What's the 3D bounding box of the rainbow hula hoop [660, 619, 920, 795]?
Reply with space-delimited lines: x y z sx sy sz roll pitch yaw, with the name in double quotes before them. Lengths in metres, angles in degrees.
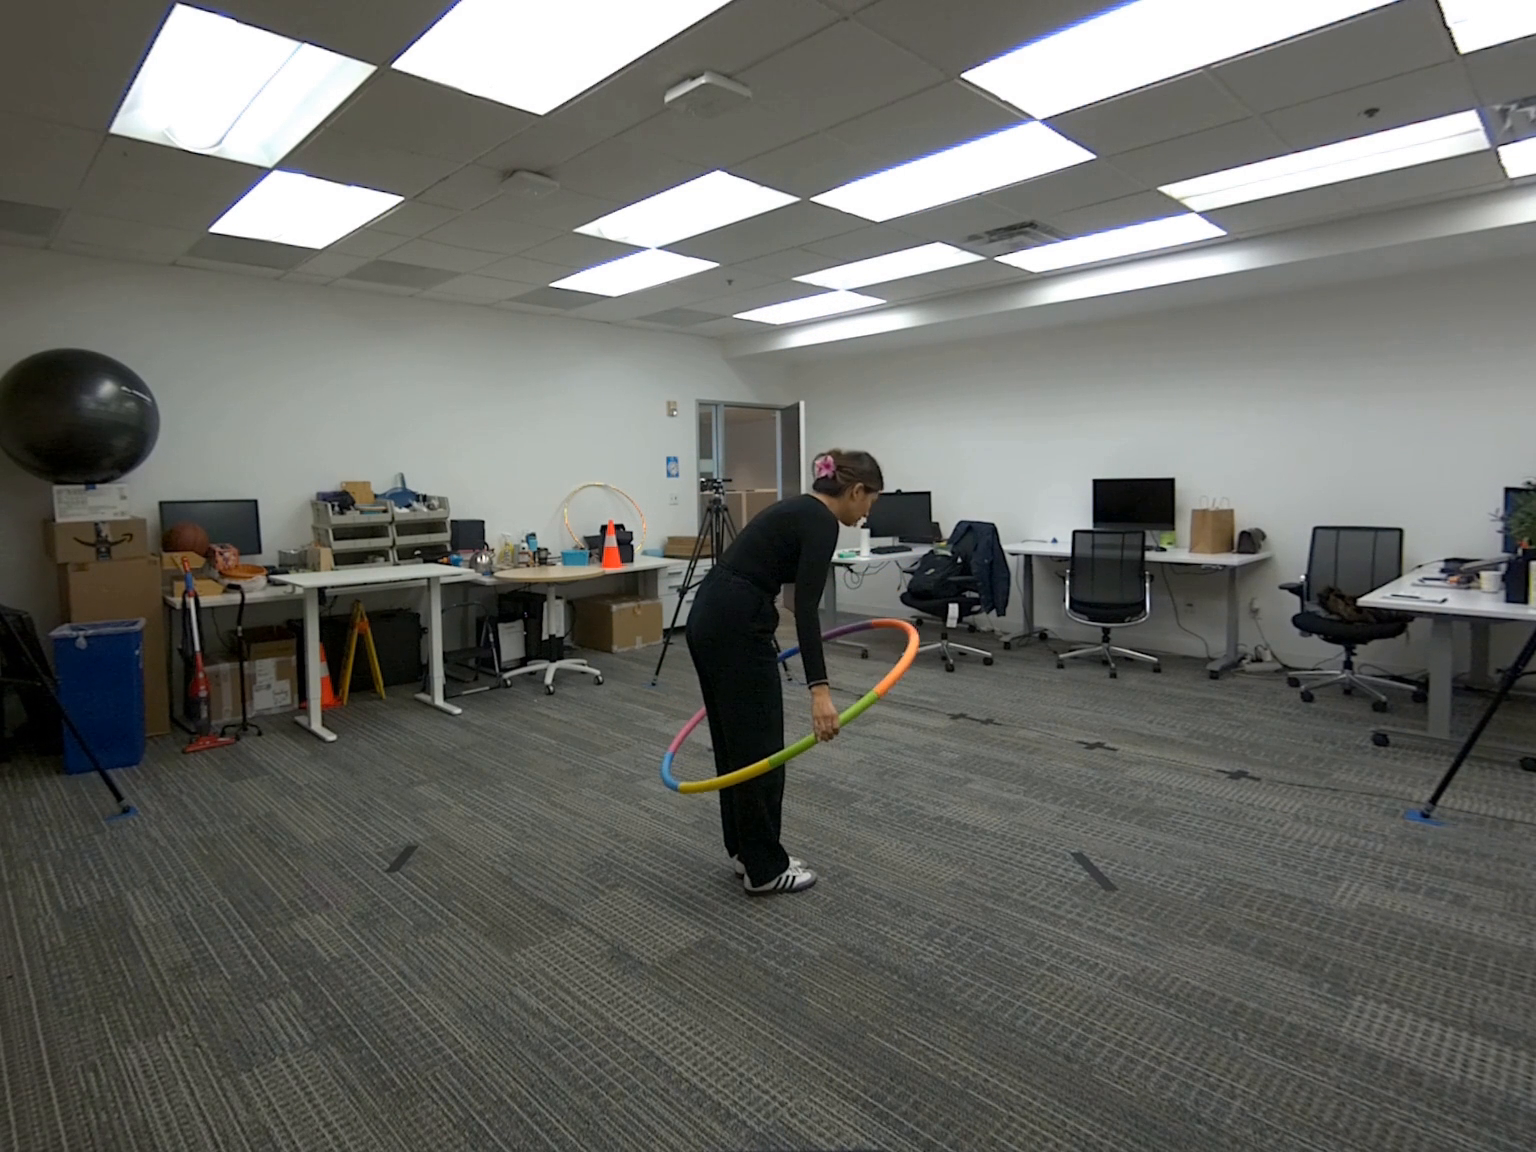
"rainbow hula hoop" 0.054 0.420 2.916 0.979 0.035 0.987 -30 10 2
